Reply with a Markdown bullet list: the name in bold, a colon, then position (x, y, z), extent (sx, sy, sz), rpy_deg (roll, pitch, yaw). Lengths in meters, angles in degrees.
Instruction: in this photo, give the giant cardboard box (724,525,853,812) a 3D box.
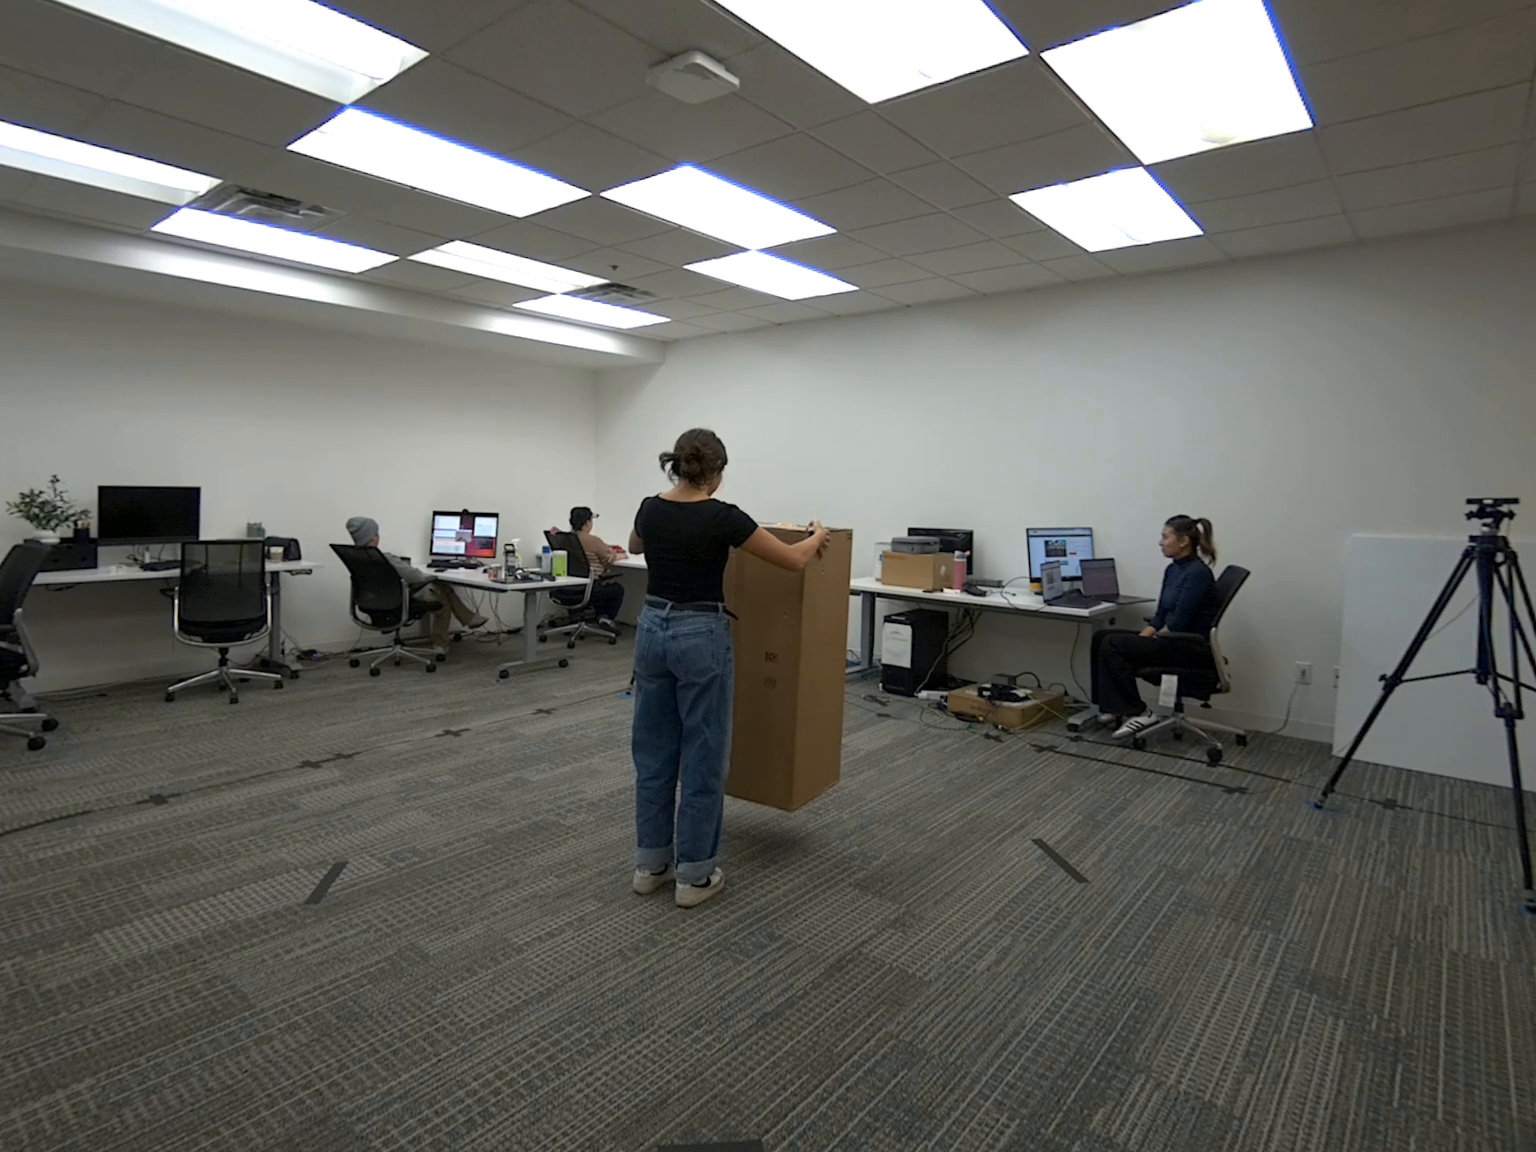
- **giant cardboard box**: position (-0.039, 0.308, 3.369), extent (0.595, 1.023, 0.414), rpy_deg (5, 4, 31)
